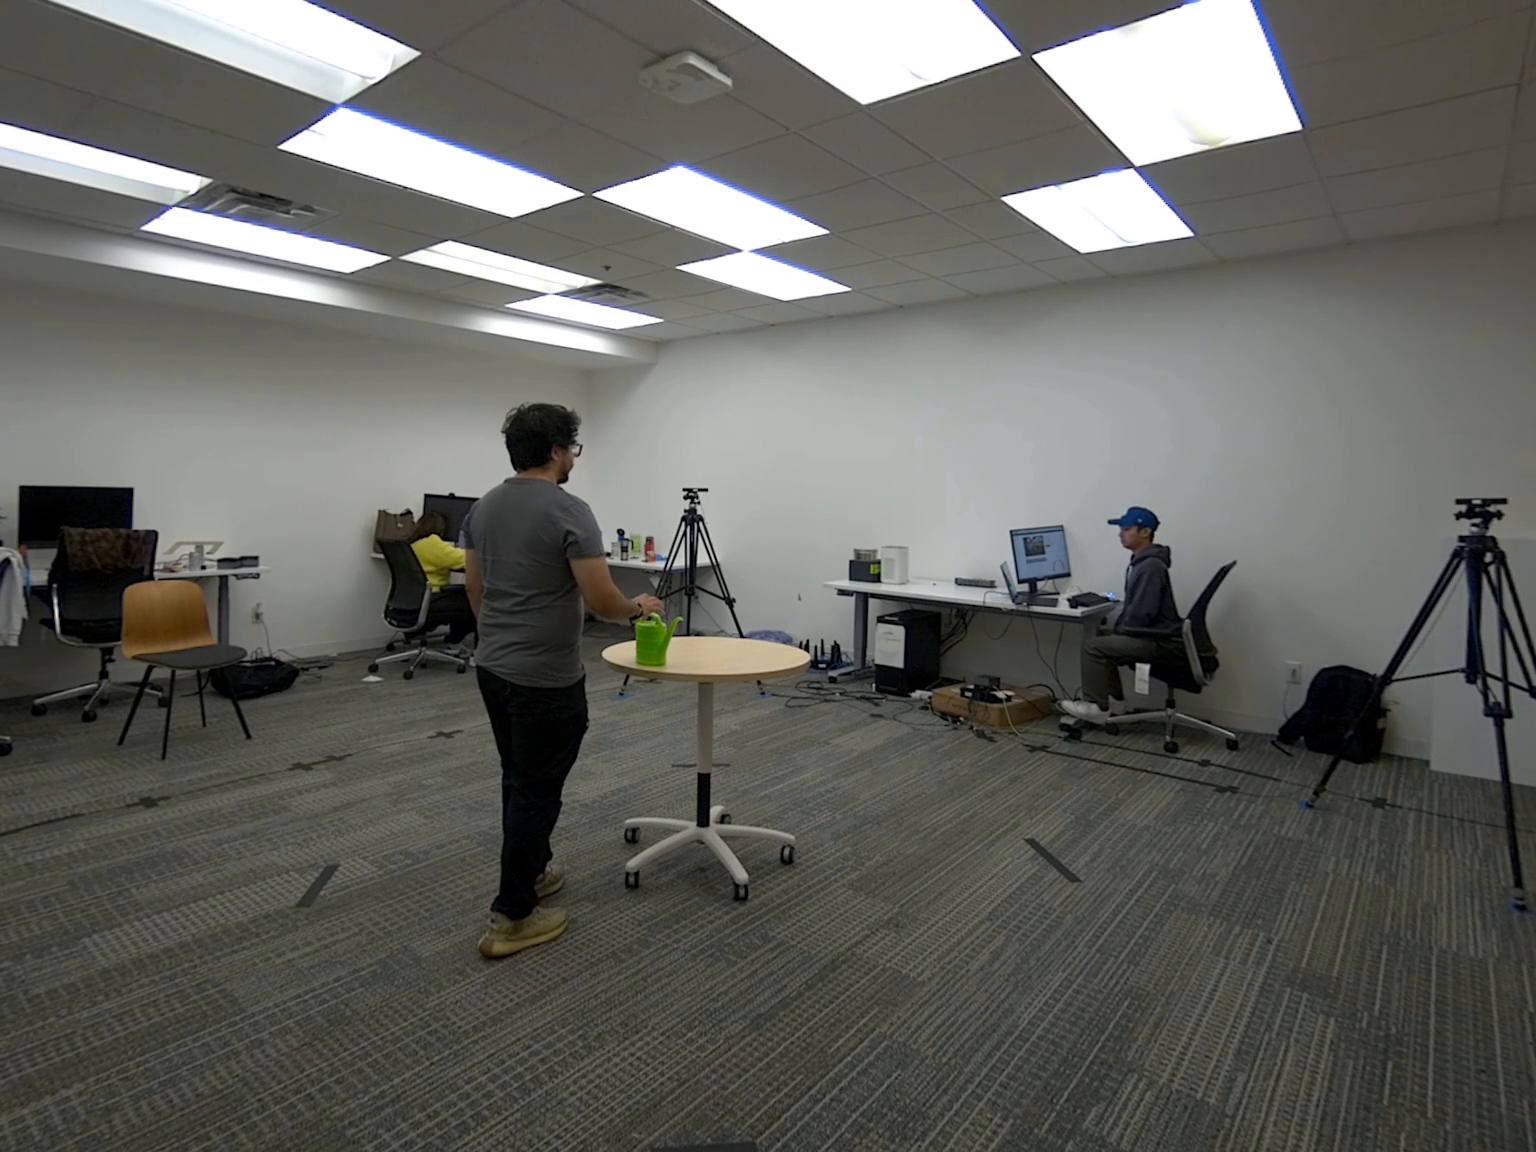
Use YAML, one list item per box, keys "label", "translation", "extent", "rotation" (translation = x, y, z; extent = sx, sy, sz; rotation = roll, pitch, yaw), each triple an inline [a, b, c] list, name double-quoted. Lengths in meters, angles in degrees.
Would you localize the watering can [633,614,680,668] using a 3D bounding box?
- label: "watering can"
  translation: [-0.392, 0.216, 2.893]
  extent: [0.096, 0.176, 0.285]
  rotation: [-1, 3, -24]
